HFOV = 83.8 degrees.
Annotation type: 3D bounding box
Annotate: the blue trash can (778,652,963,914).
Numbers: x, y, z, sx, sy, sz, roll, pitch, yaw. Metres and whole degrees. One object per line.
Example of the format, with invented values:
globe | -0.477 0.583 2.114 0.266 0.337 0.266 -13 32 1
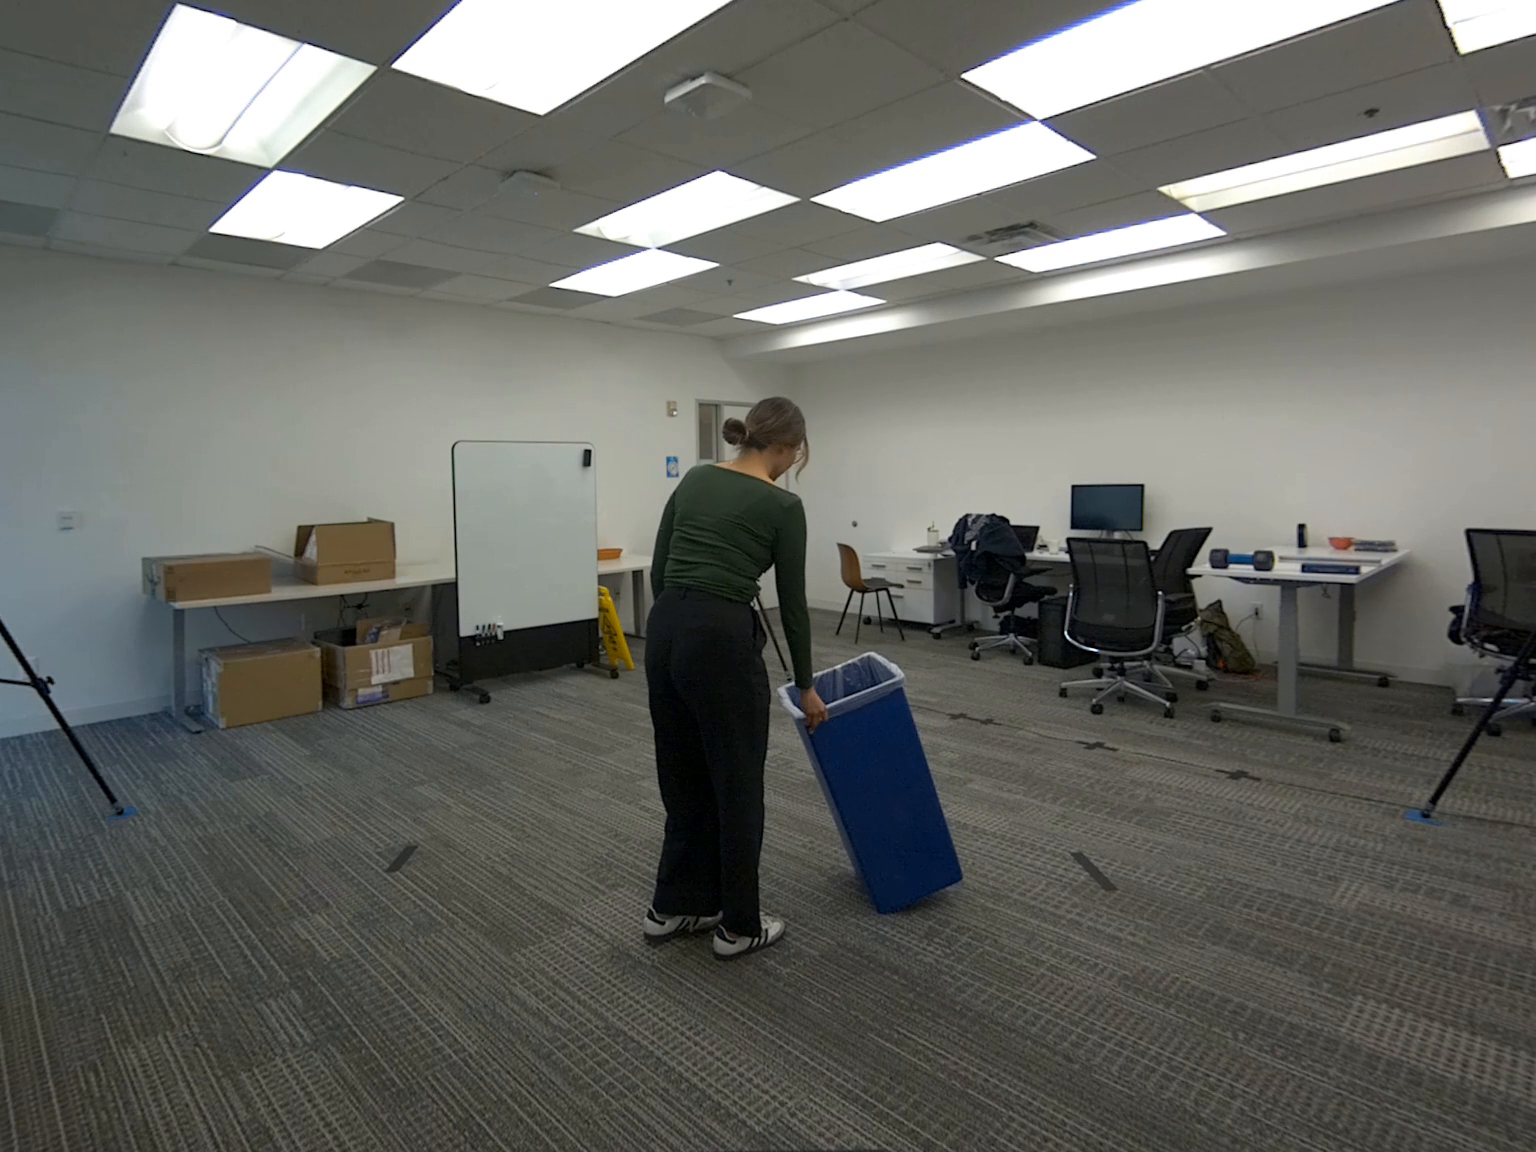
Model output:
blue trash can | 0.353 0.679 2.849 0.373 0.708 0.382 -21 7 -6
